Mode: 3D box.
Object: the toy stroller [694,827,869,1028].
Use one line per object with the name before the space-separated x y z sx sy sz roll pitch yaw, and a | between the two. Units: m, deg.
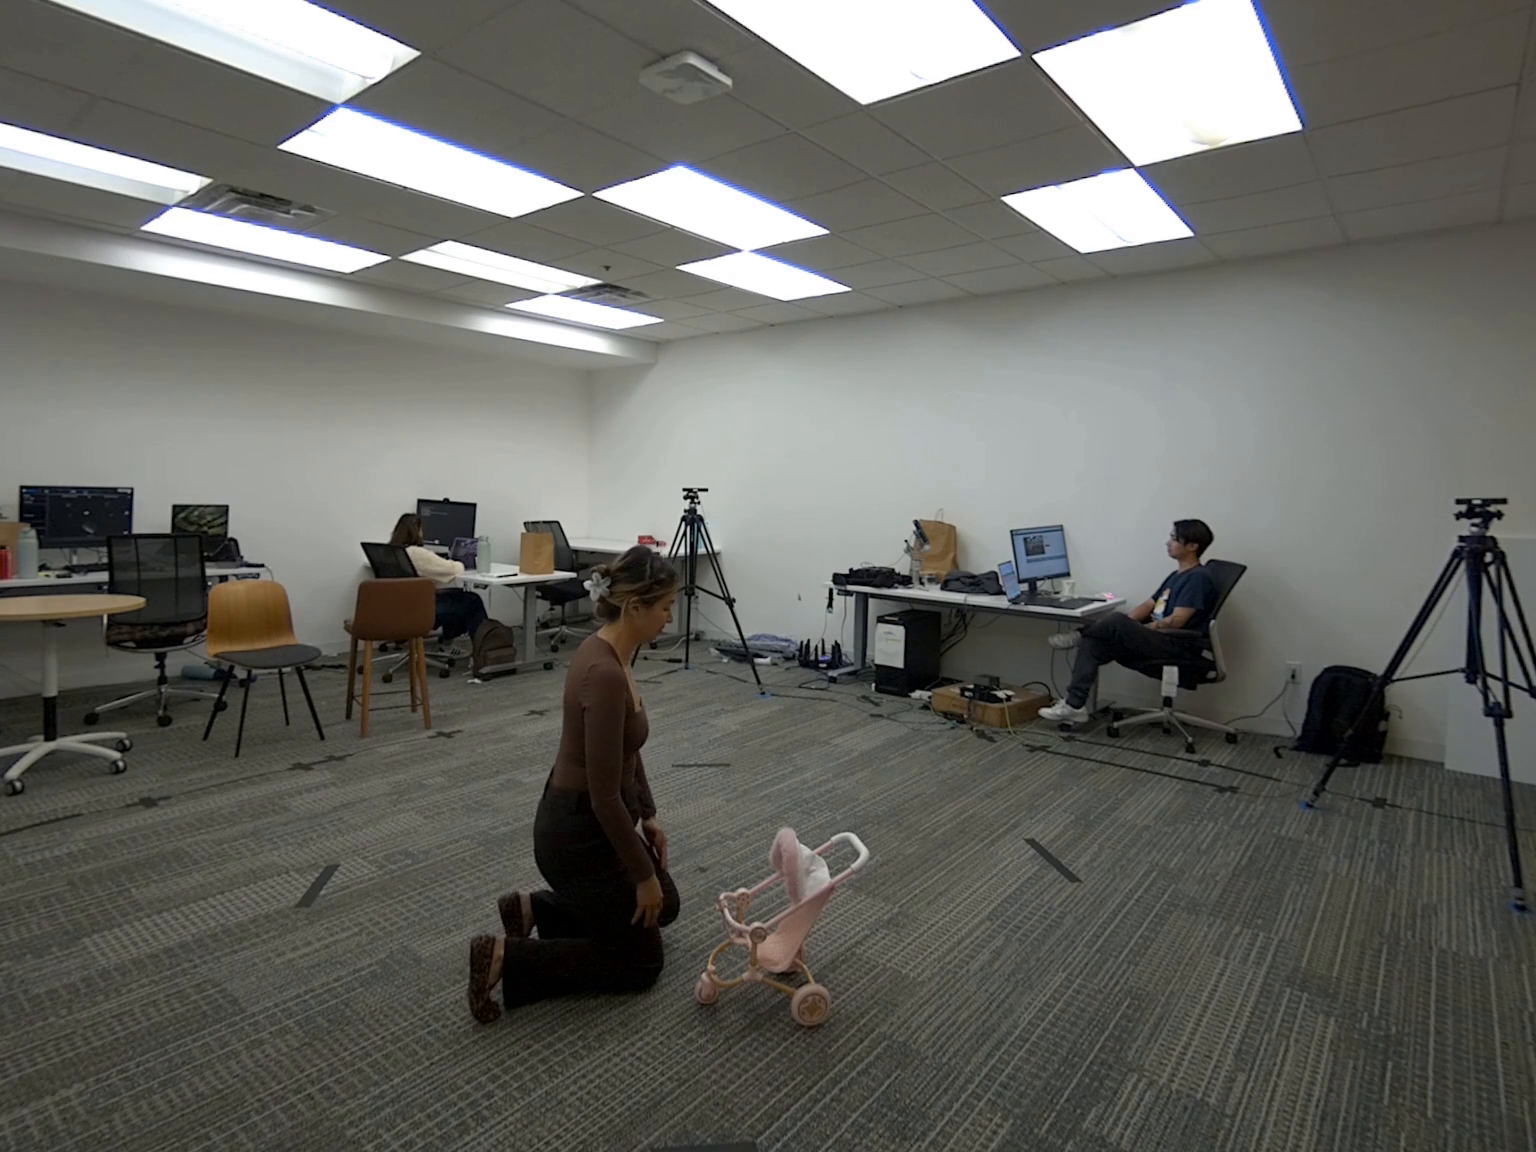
toy stroller | 0.021 0.935 2.308 0.338 0.534 0.284 18 1 -8
